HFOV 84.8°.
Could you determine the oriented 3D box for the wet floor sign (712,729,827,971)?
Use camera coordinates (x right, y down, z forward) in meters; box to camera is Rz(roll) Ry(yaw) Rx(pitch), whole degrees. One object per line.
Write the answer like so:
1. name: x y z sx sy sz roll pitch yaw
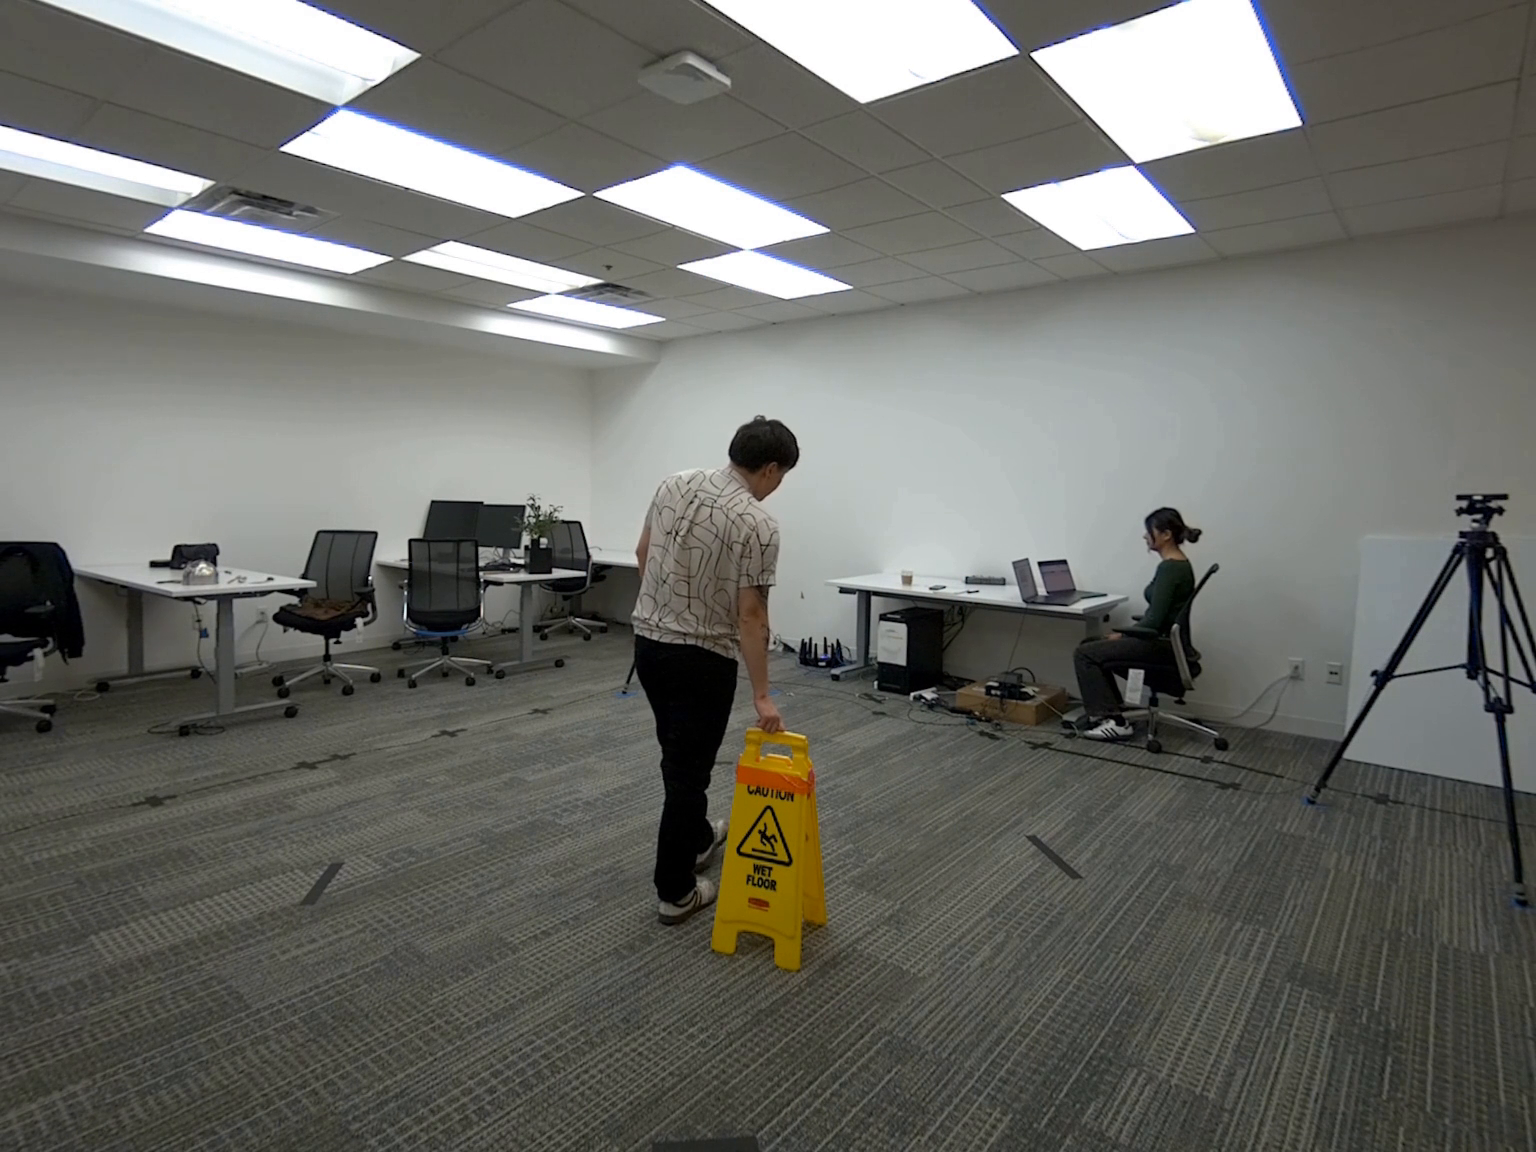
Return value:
1. wet floor sign: 0.012 0.794 2.624 0.289 0.645 0.284 3 2 21
